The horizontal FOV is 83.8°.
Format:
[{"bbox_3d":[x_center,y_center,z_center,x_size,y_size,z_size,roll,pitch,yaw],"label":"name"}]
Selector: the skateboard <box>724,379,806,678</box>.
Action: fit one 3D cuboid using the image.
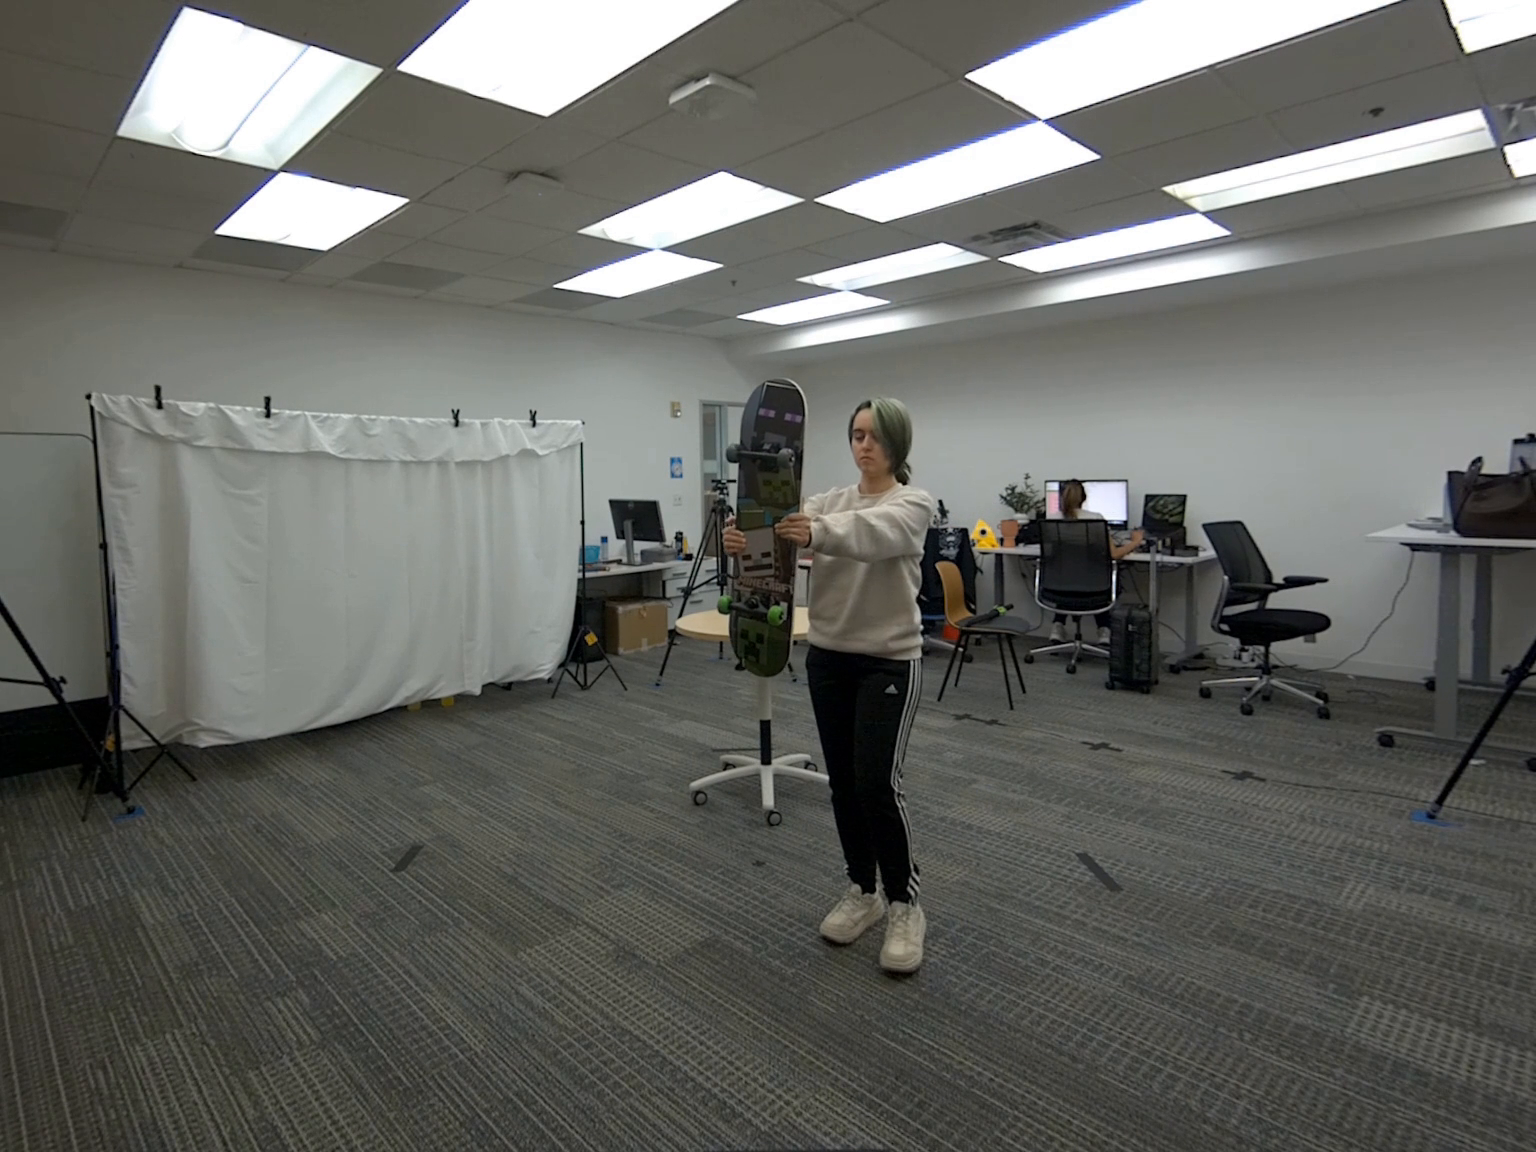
[{"bbox_3d":[-0.010,-0.108,2.195,0.199,0.779,0.108,9,12,32],"label":"skateboard"}]
